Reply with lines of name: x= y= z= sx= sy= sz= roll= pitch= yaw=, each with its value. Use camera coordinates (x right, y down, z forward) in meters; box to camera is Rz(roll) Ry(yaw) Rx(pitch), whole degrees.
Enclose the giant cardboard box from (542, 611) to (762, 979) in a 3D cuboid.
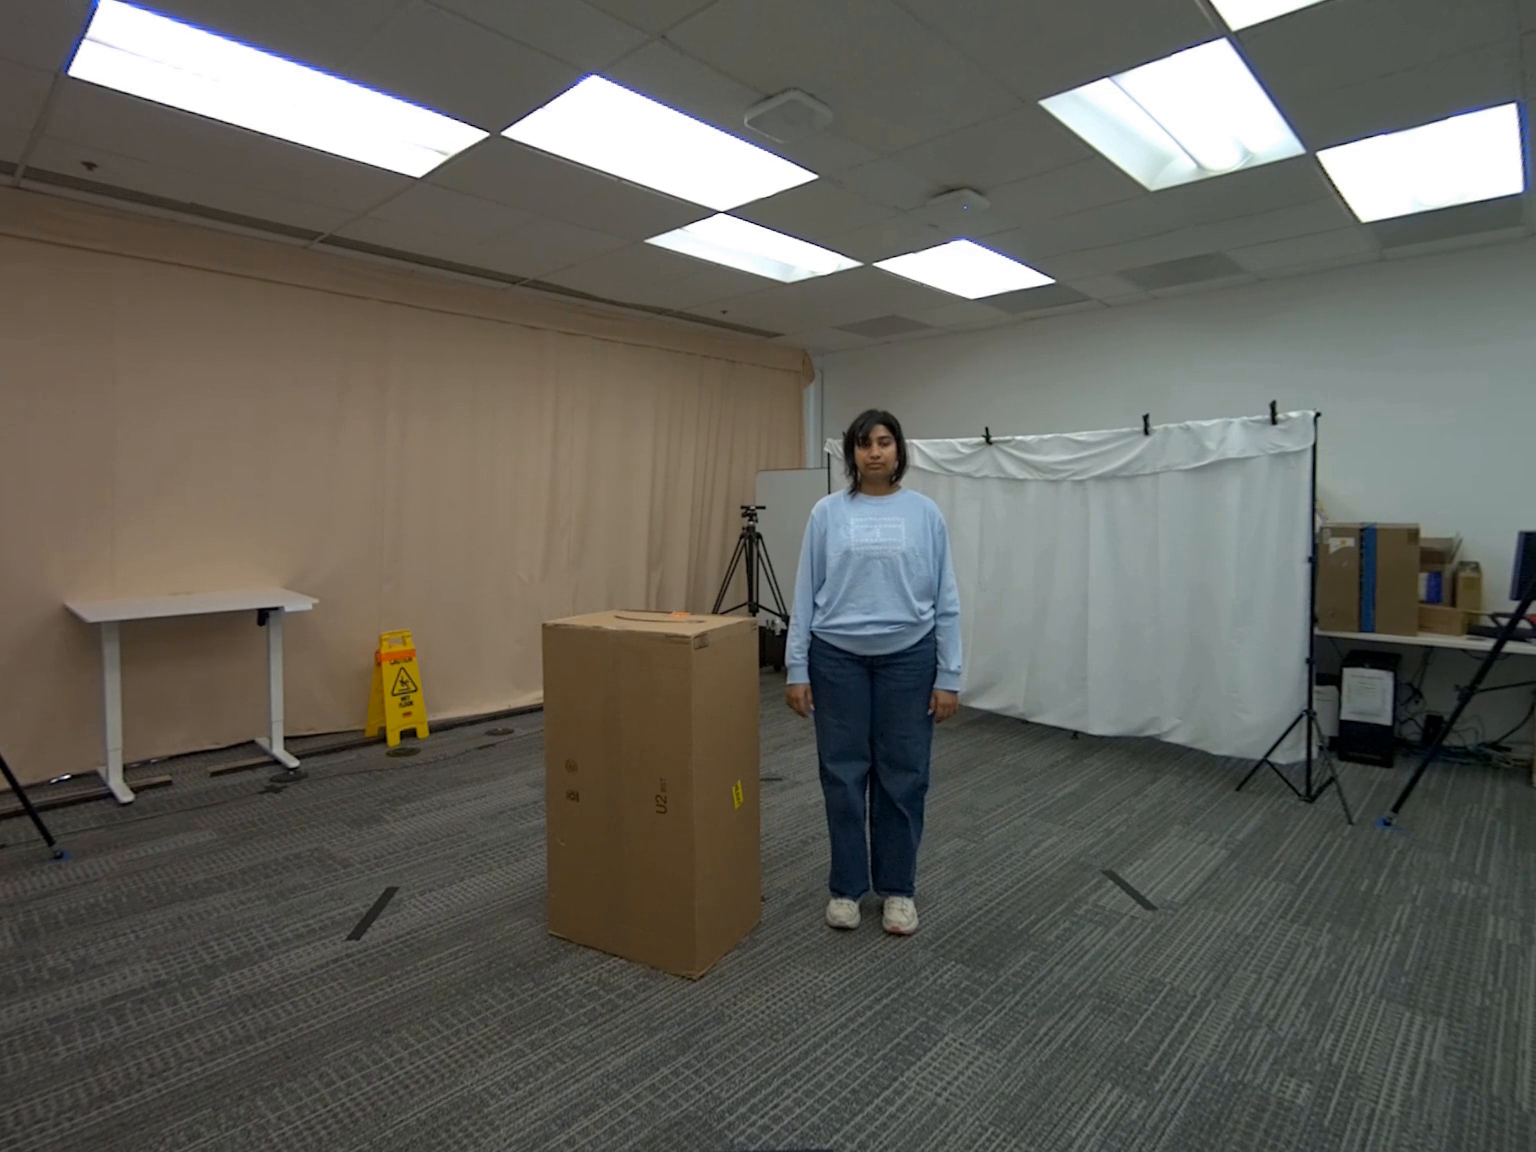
giant cardboard box: x=-0.374 y=0.657 z=2.769 sx=0.600 sy=1.025 sz=0.435 roll=1 pitch=4 yaw=29
